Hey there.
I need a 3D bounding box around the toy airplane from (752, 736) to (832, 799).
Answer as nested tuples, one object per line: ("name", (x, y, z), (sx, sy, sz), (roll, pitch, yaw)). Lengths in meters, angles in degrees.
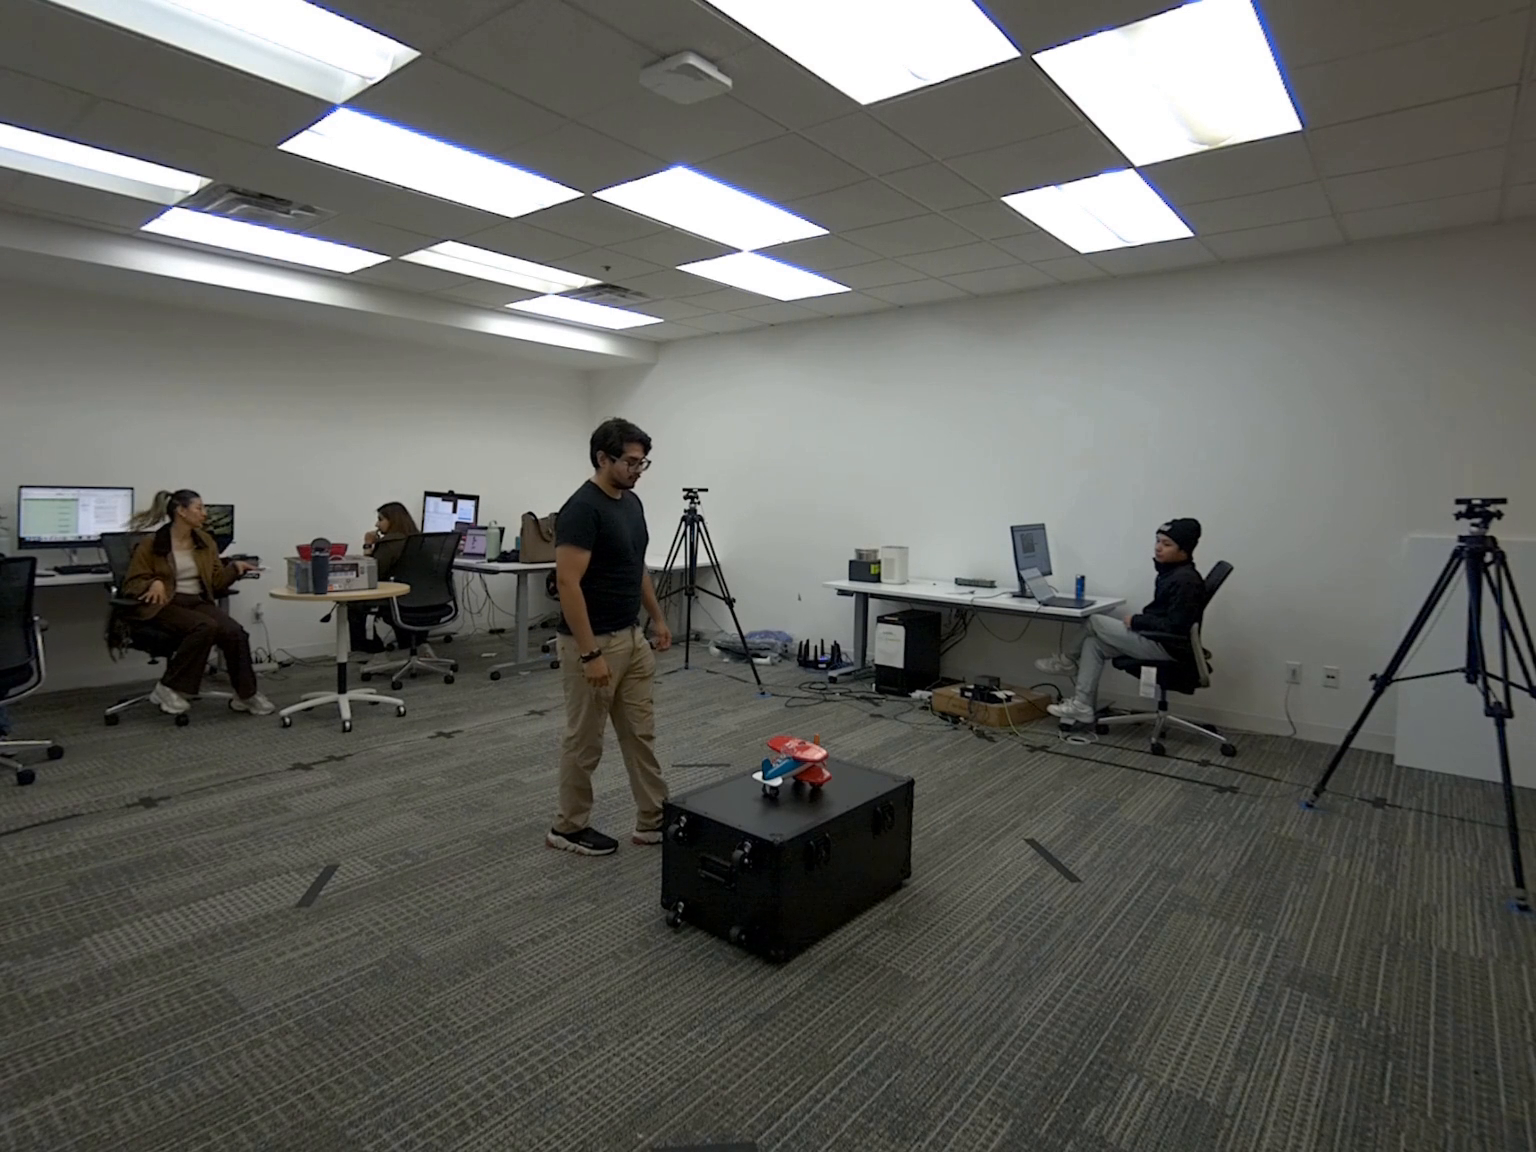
("toy airplane", (0.082, 0.646, 2.875), (0.257, 0.156, 0.254), (3, 3, 20))
